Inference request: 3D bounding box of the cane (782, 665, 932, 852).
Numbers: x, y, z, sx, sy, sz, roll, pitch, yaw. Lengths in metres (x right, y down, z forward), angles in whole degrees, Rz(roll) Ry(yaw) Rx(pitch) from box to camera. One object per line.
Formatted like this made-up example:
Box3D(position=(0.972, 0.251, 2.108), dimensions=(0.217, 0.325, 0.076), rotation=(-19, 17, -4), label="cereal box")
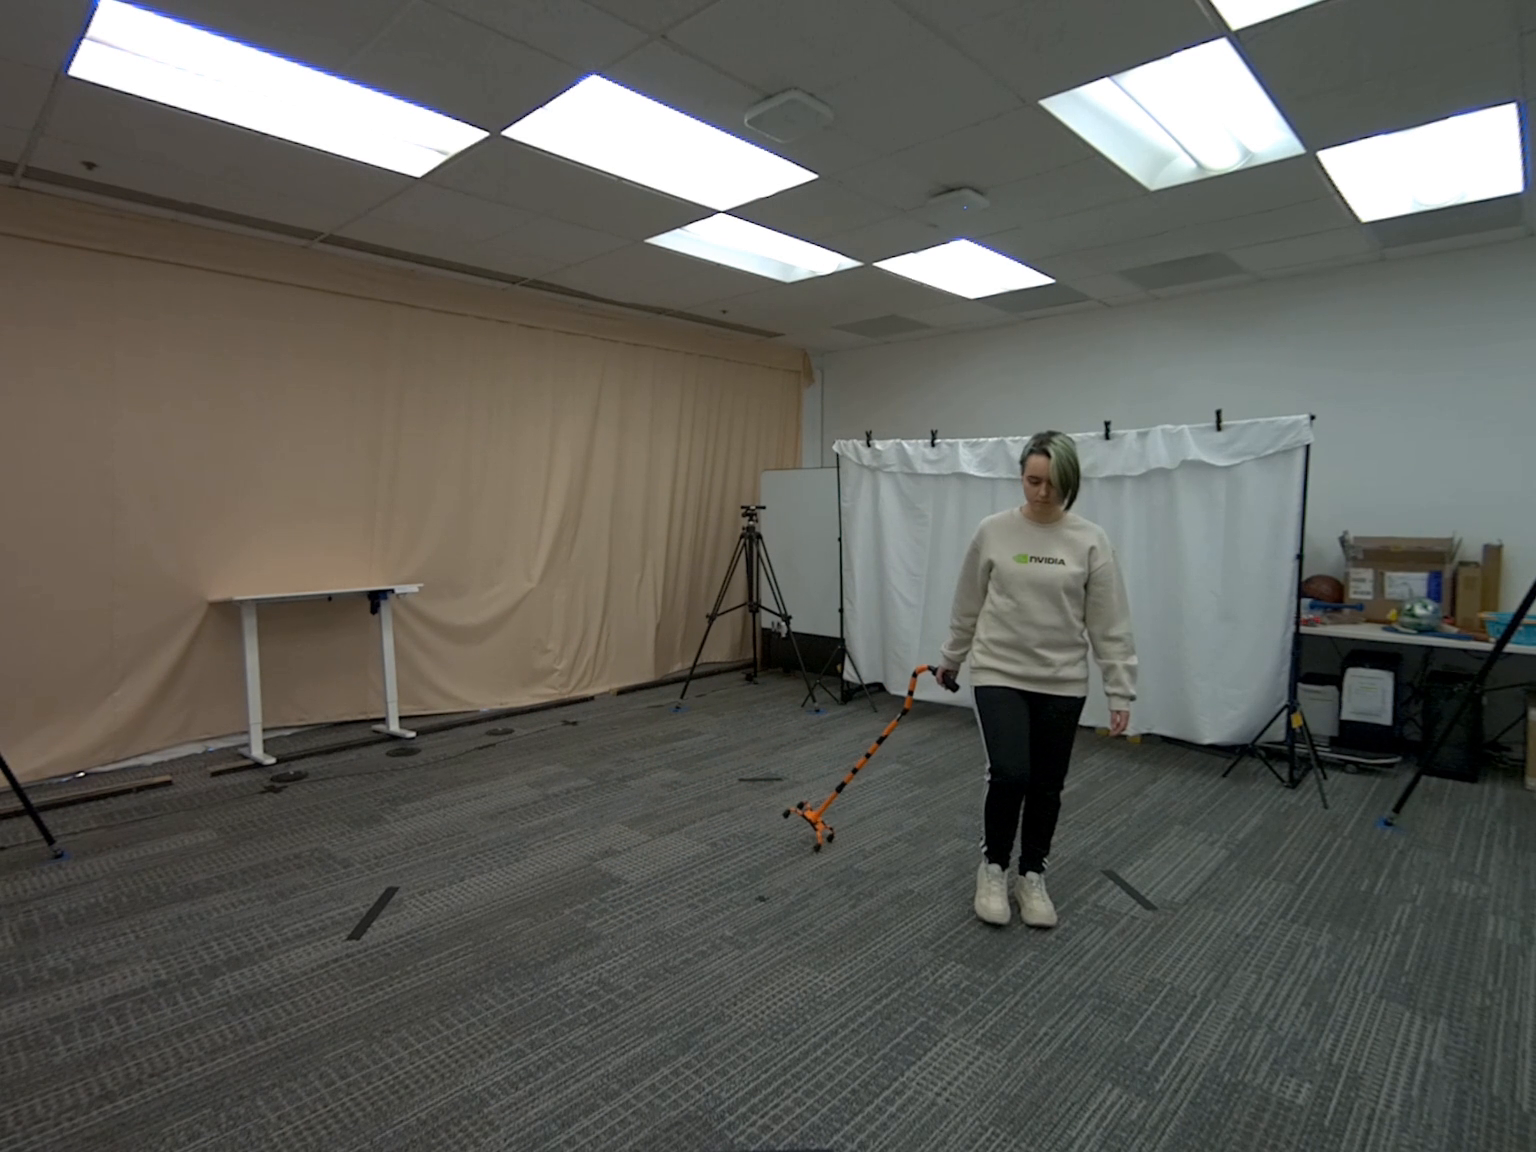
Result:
Box3D(position=(0.400, 0.698, 3.307), dimensions=(0.212, 0.909, 0.147), rotation=(45, 24, 24), label="cane")
